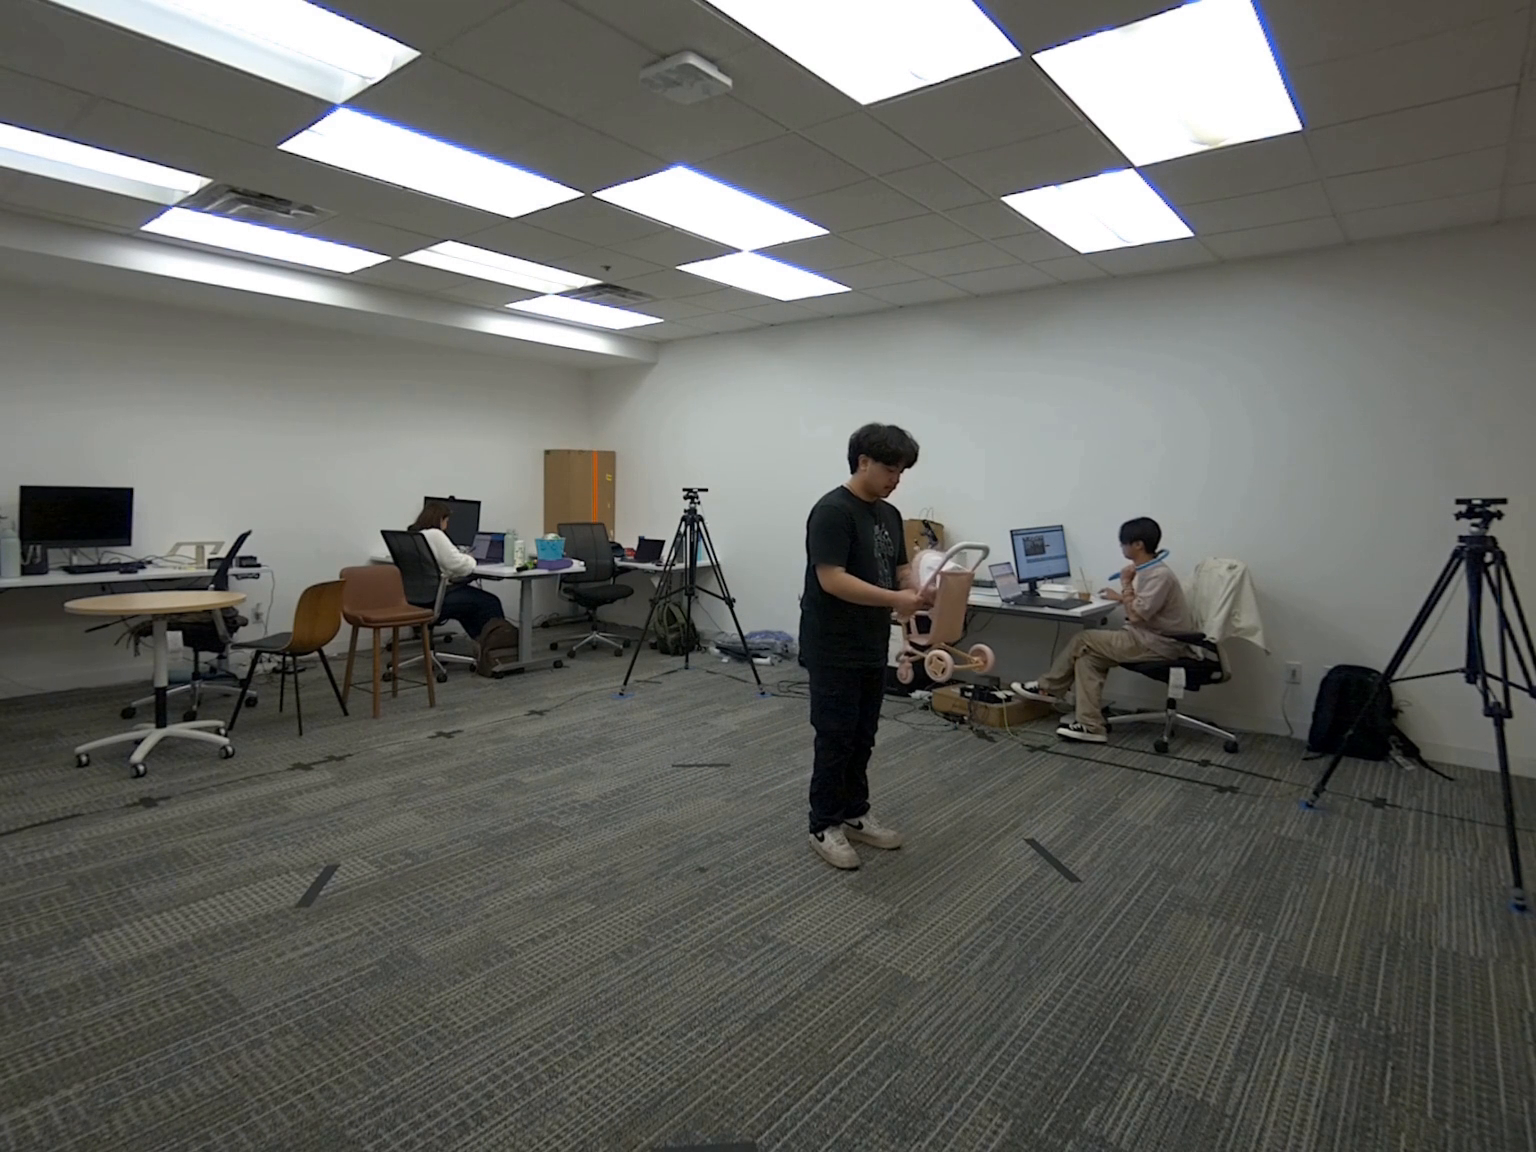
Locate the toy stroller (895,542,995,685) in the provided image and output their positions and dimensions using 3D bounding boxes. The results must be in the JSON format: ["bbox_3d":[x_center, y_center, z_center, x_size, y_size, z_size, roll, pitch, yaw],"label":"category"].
[{"bbox_3d":[0.609,0.146,3.073,0.273,0.534,0.352,-1,2,-36],"label":"toy stroller"}]
